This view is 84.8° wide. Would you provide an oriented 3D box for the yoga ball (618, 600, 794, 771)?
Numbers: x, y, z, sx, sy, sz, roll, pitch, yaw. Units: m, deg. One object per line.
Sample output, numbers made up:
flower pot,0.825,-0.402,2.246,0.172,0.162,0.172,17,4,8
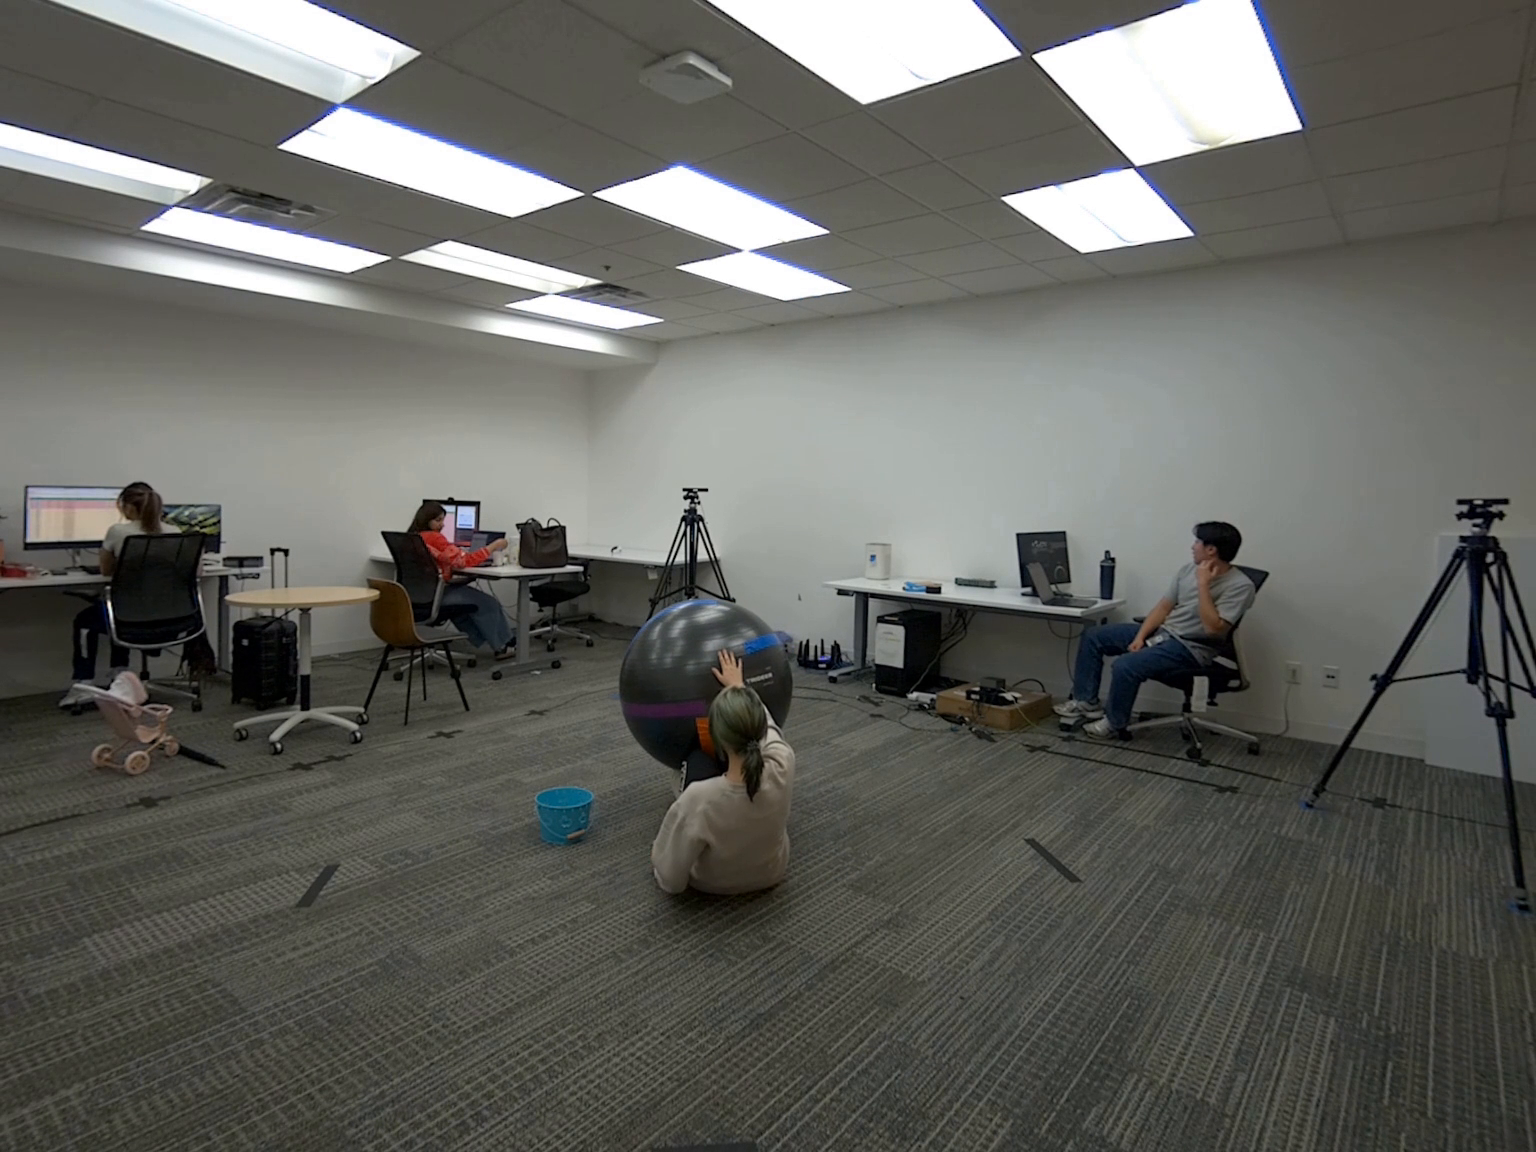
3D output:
yoga ball,-0.287,0.475,3.715,0.757,0.756,0.761,1,4,-2
